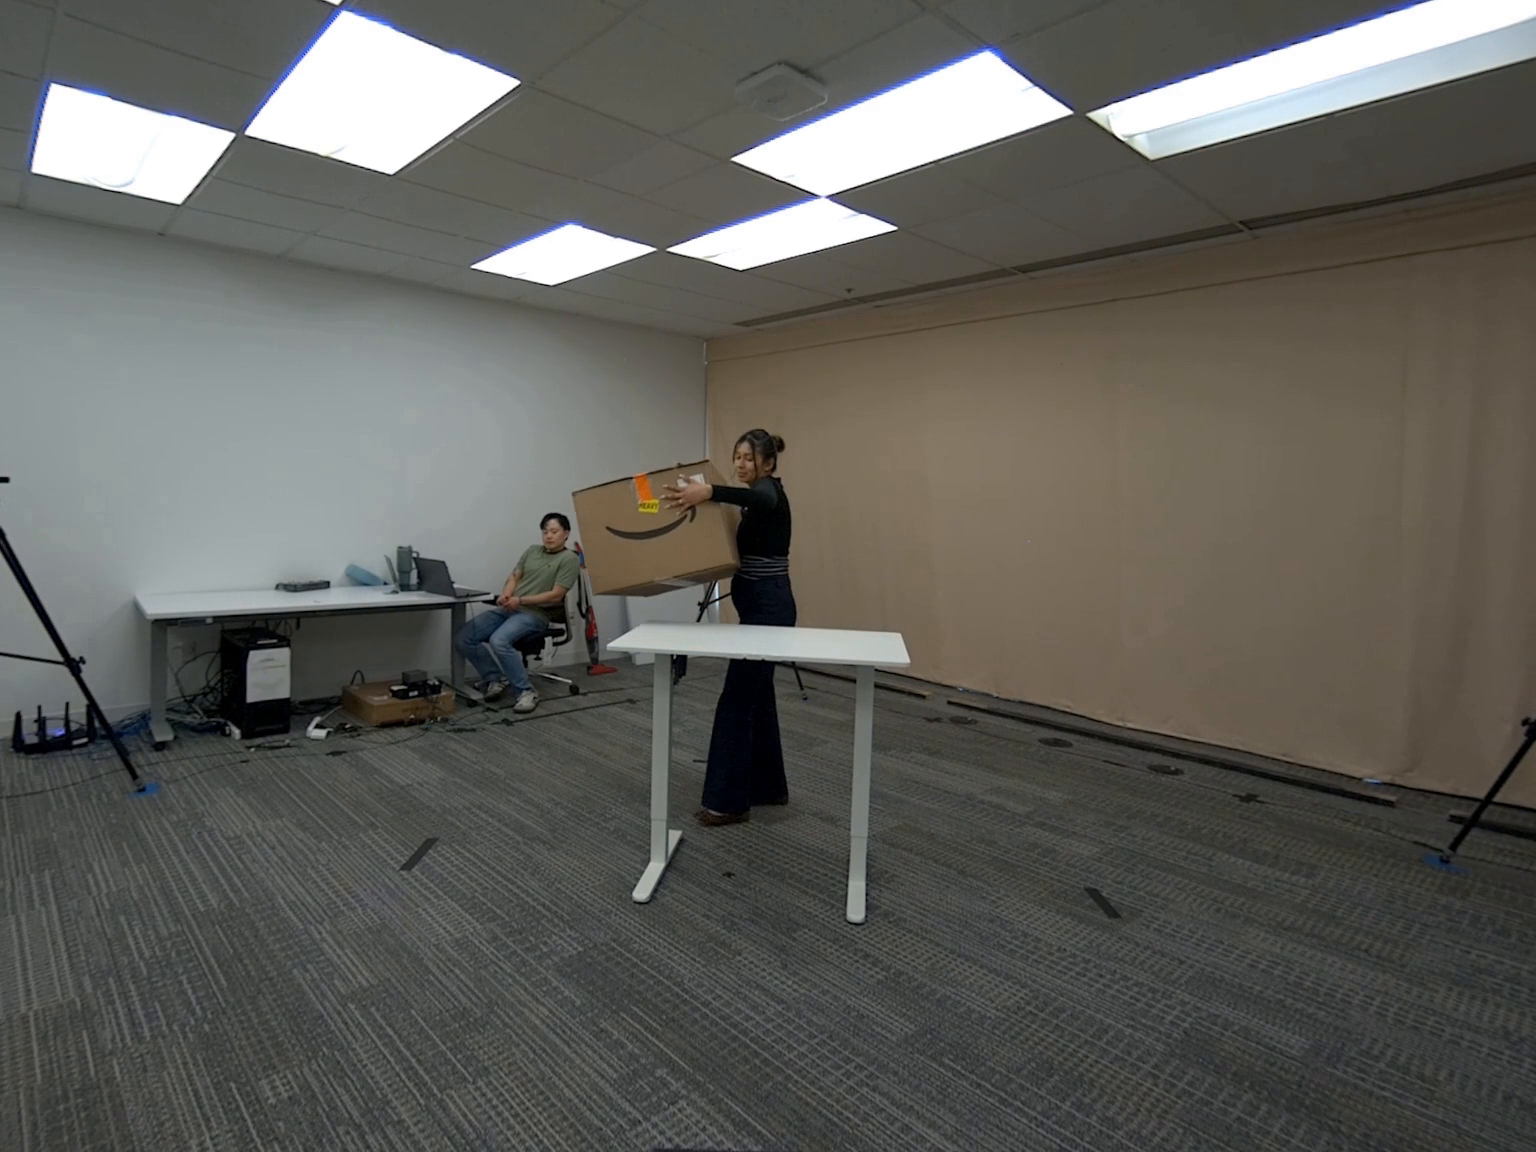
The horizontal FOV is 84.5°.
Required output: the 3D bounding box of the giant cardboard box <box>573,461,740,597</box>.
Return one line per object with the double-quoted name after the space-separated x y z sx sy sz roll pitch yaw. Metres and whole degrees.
-0.444 -0.182 3.803 0.579 0.428 1.019 -12 -2 3 "giant cardboard box"
